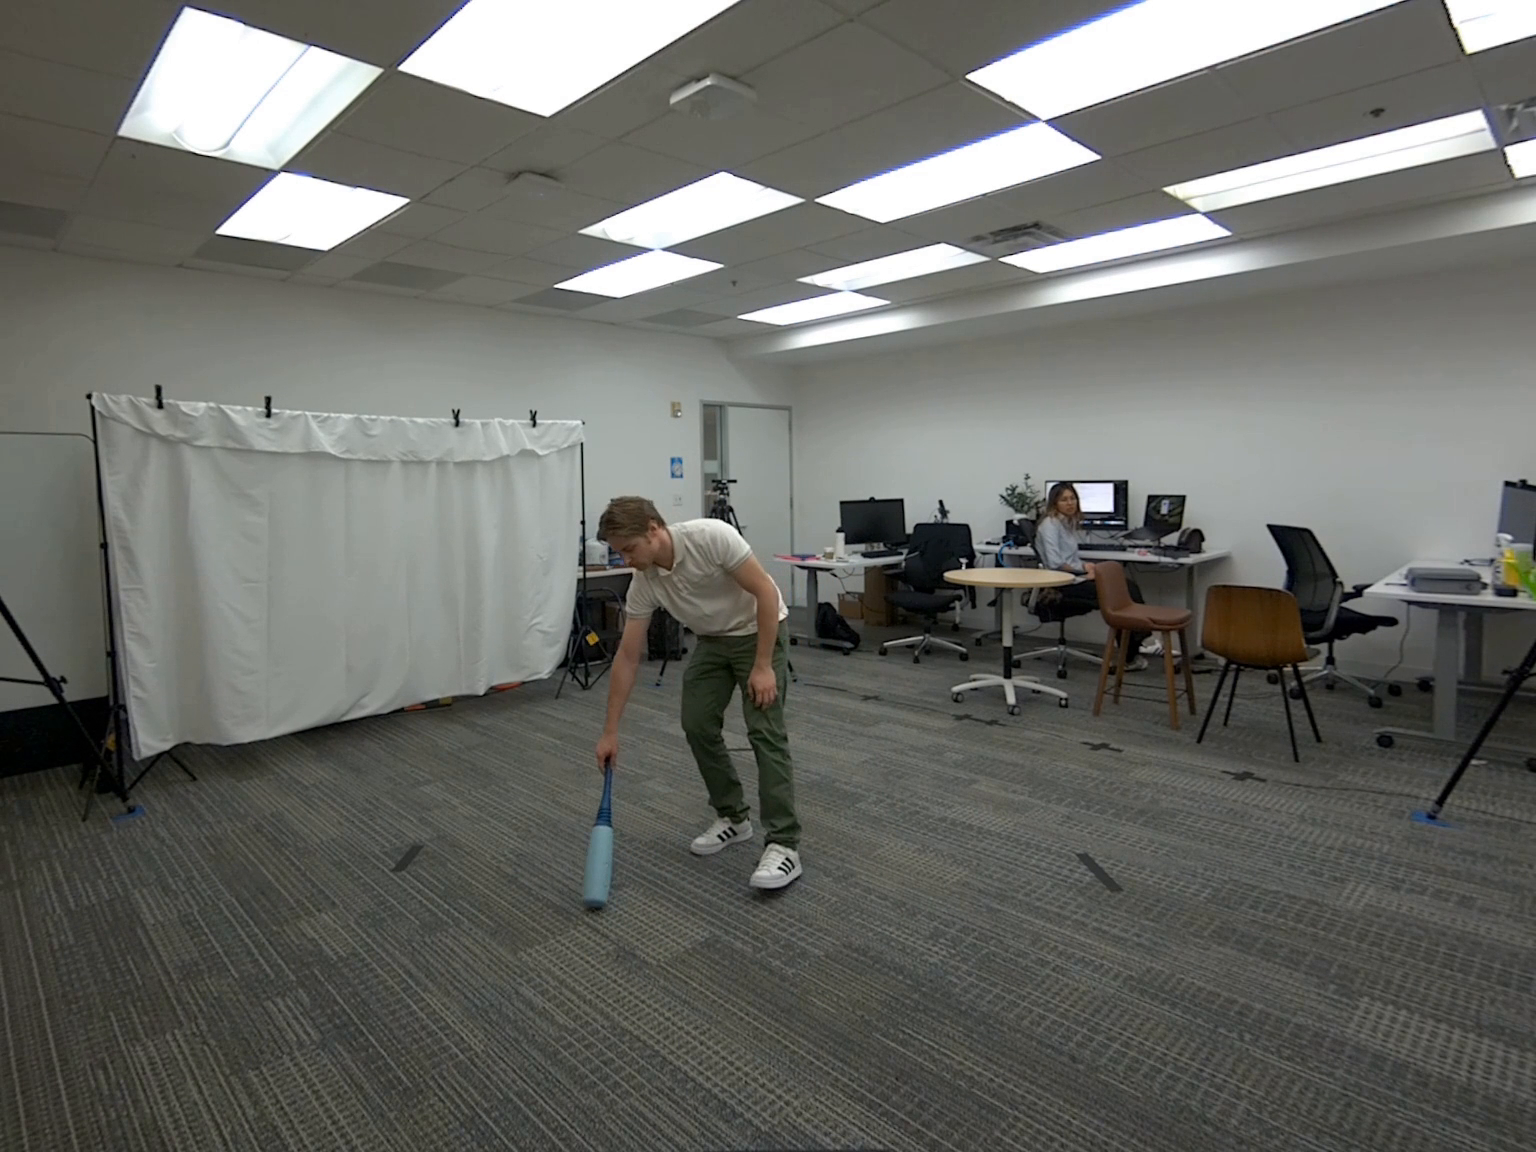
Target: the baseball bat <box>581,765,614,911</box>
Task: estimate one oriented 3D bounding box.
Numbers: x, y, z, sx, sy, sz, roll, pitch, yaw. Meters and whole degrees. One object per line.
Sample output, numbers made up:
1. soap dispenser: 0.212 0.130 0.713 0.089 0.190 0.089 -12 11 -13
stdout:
1. baseball bat: -0.564 0.857 2.953 0.089 0.557 0.087 0 -38 -1
